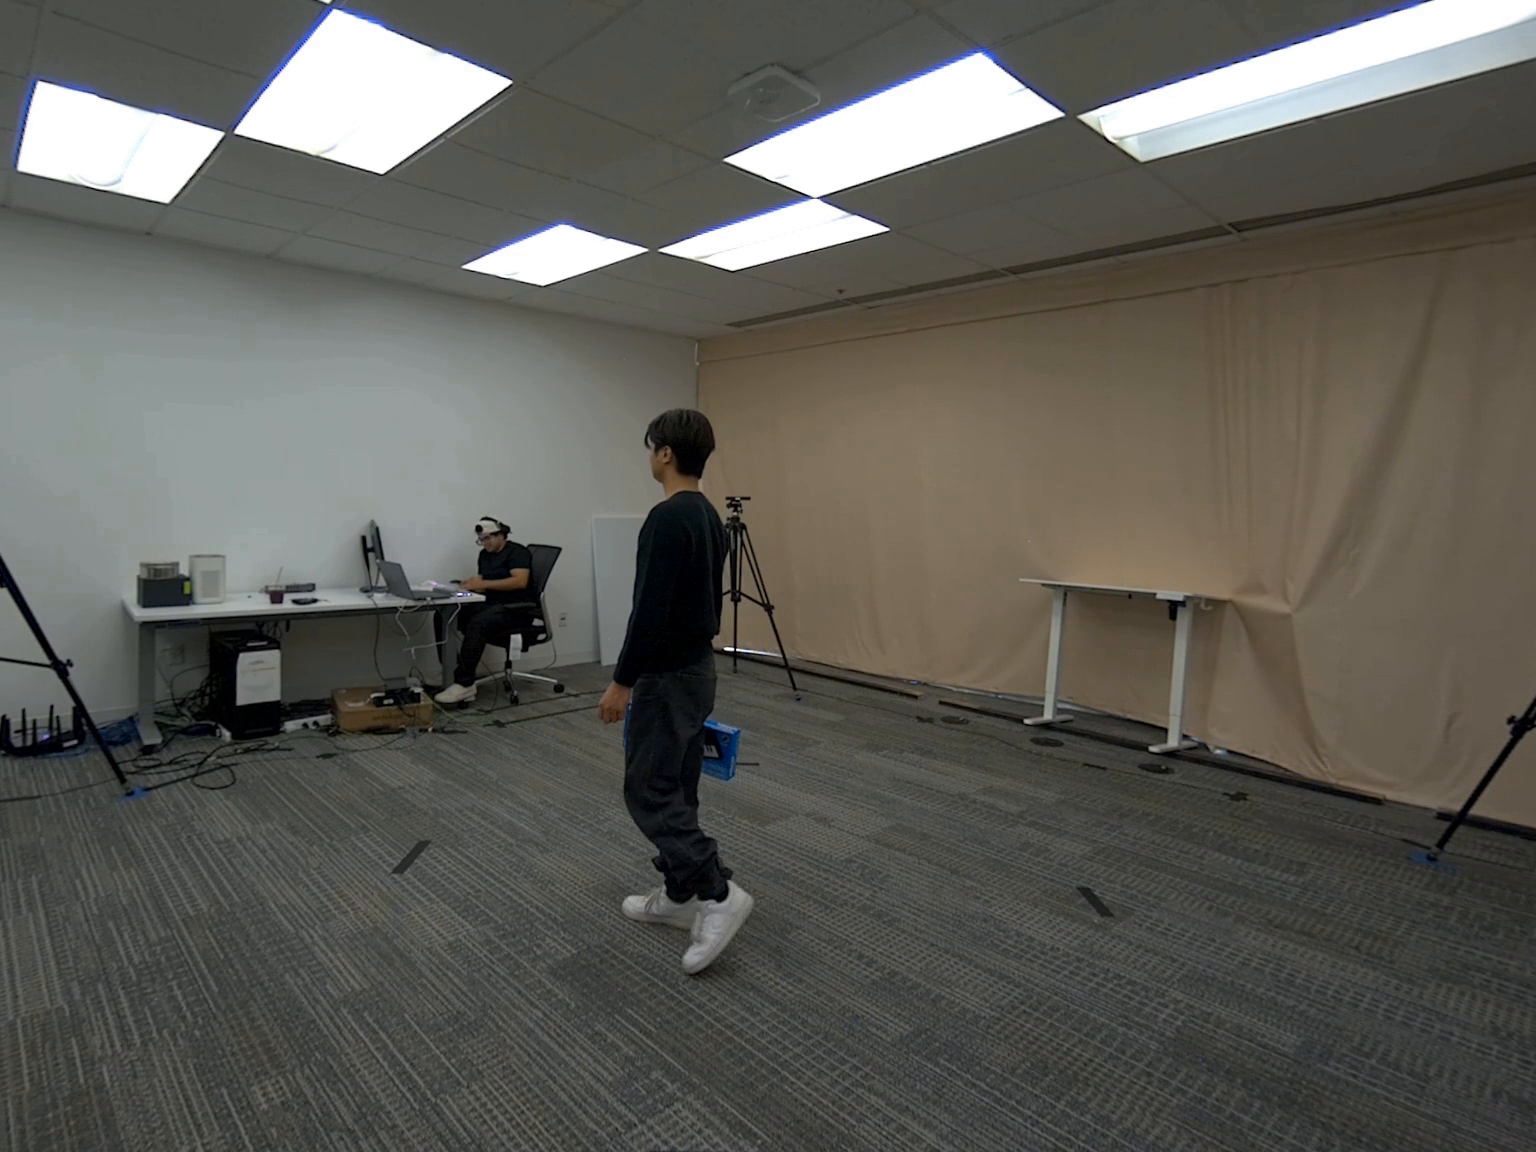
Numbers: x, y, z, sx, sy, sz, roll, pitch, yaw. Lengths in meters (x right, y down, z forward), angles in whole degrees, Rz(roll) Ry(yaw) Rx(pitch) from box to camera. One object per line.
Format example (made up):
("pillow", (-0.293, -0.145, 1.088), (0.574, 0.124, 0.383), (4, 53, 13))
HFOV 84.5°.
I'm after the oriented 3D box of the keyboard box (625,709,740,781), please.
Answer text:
("keyboard box", (-0.315, 0.580, 2.982), (0.446, 0.175, 0.058), (12, 9, 26))
